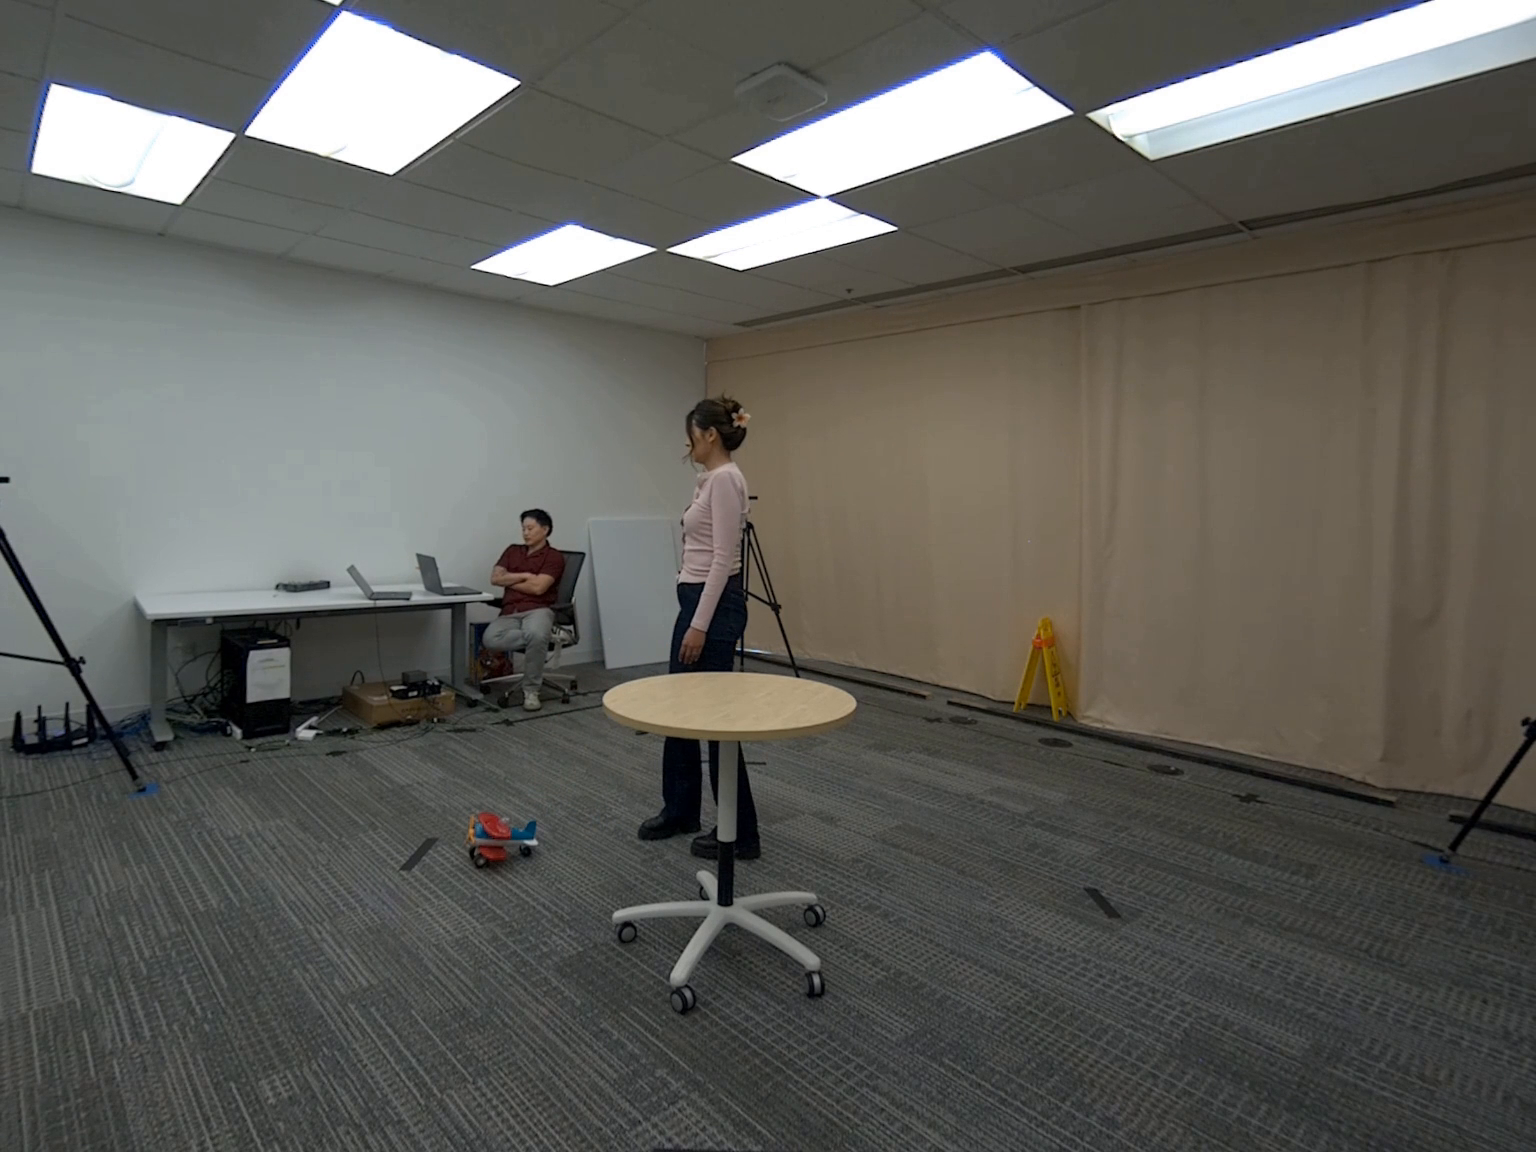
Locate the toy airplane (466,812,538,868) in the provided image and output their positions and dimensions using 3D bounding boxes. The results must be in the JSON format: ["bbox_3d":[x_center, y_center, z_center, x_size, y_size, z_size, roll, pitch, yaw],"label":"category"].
[{"bbox_3d":[-1.030,1.002,3.200,0.257,0.156,0.254,4,6,31],"label":"toy airplane"}]
